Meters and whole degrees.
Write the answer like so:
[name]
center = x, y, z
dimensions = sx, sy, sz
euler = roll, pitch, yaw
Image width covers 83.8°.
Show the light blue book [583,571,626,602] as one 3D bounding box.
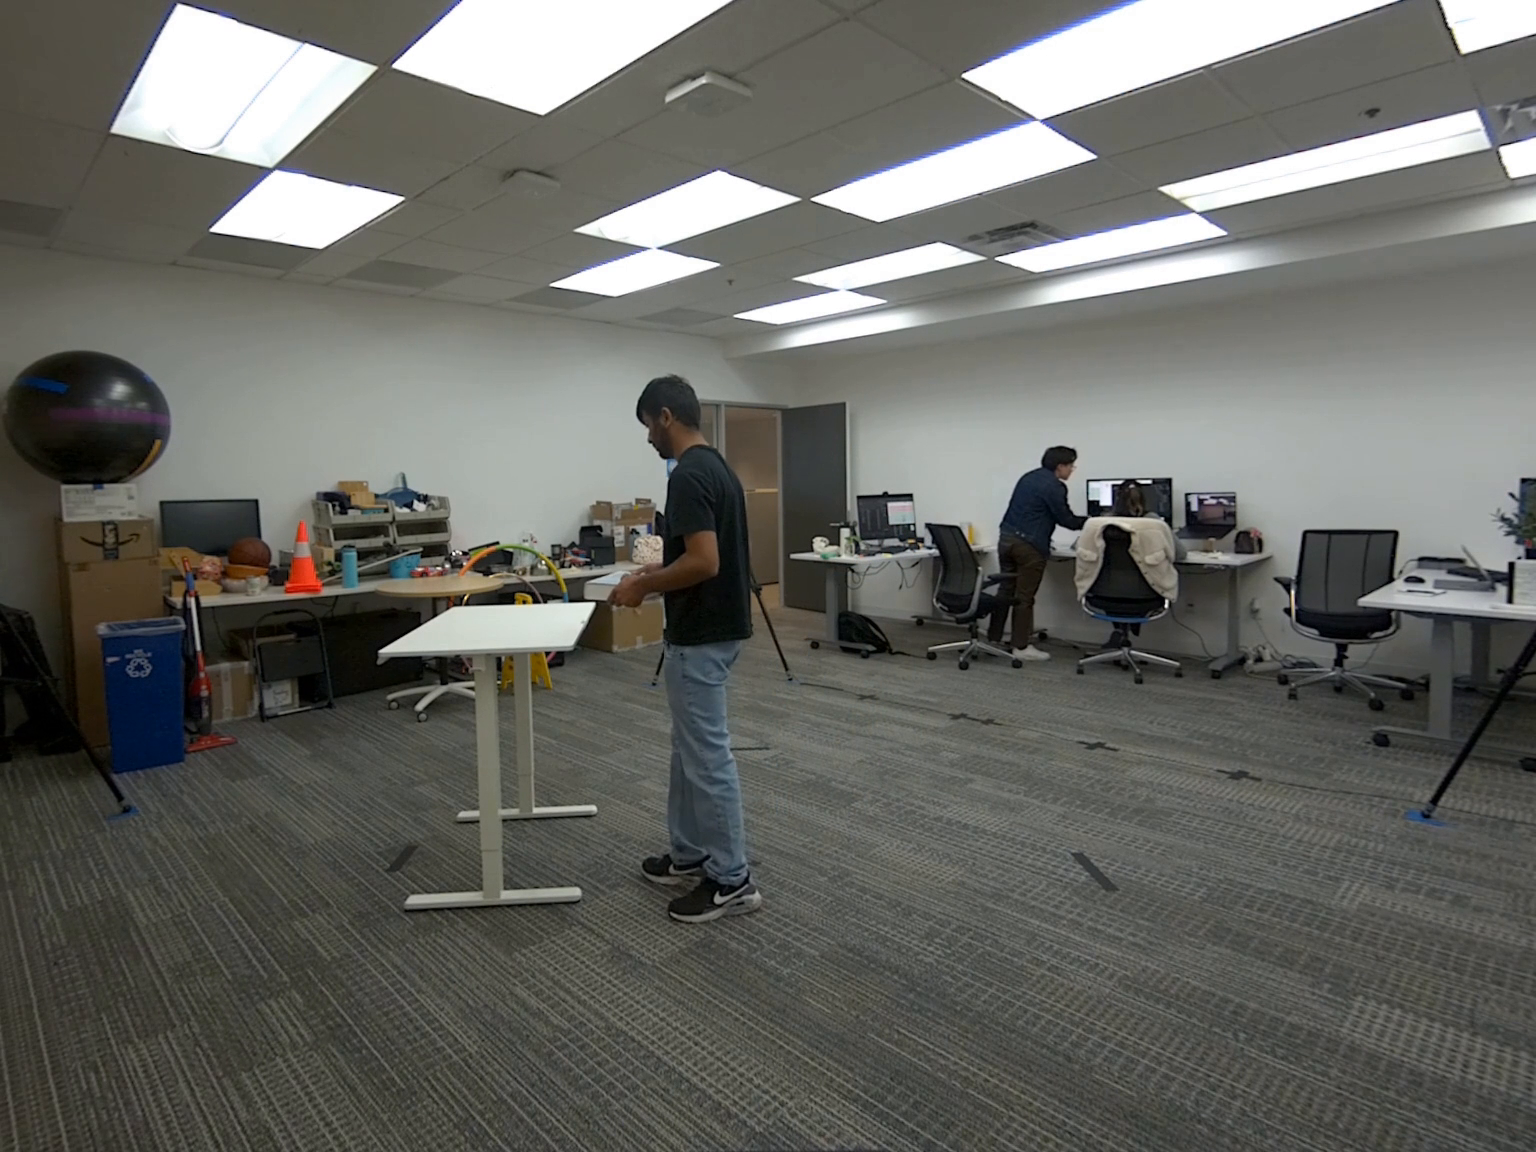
[light blue book]
center = -0.469, 0.029, 2.870
dimensions = 0.194, 0.058, 0.259
euler = 2, 9, 12
